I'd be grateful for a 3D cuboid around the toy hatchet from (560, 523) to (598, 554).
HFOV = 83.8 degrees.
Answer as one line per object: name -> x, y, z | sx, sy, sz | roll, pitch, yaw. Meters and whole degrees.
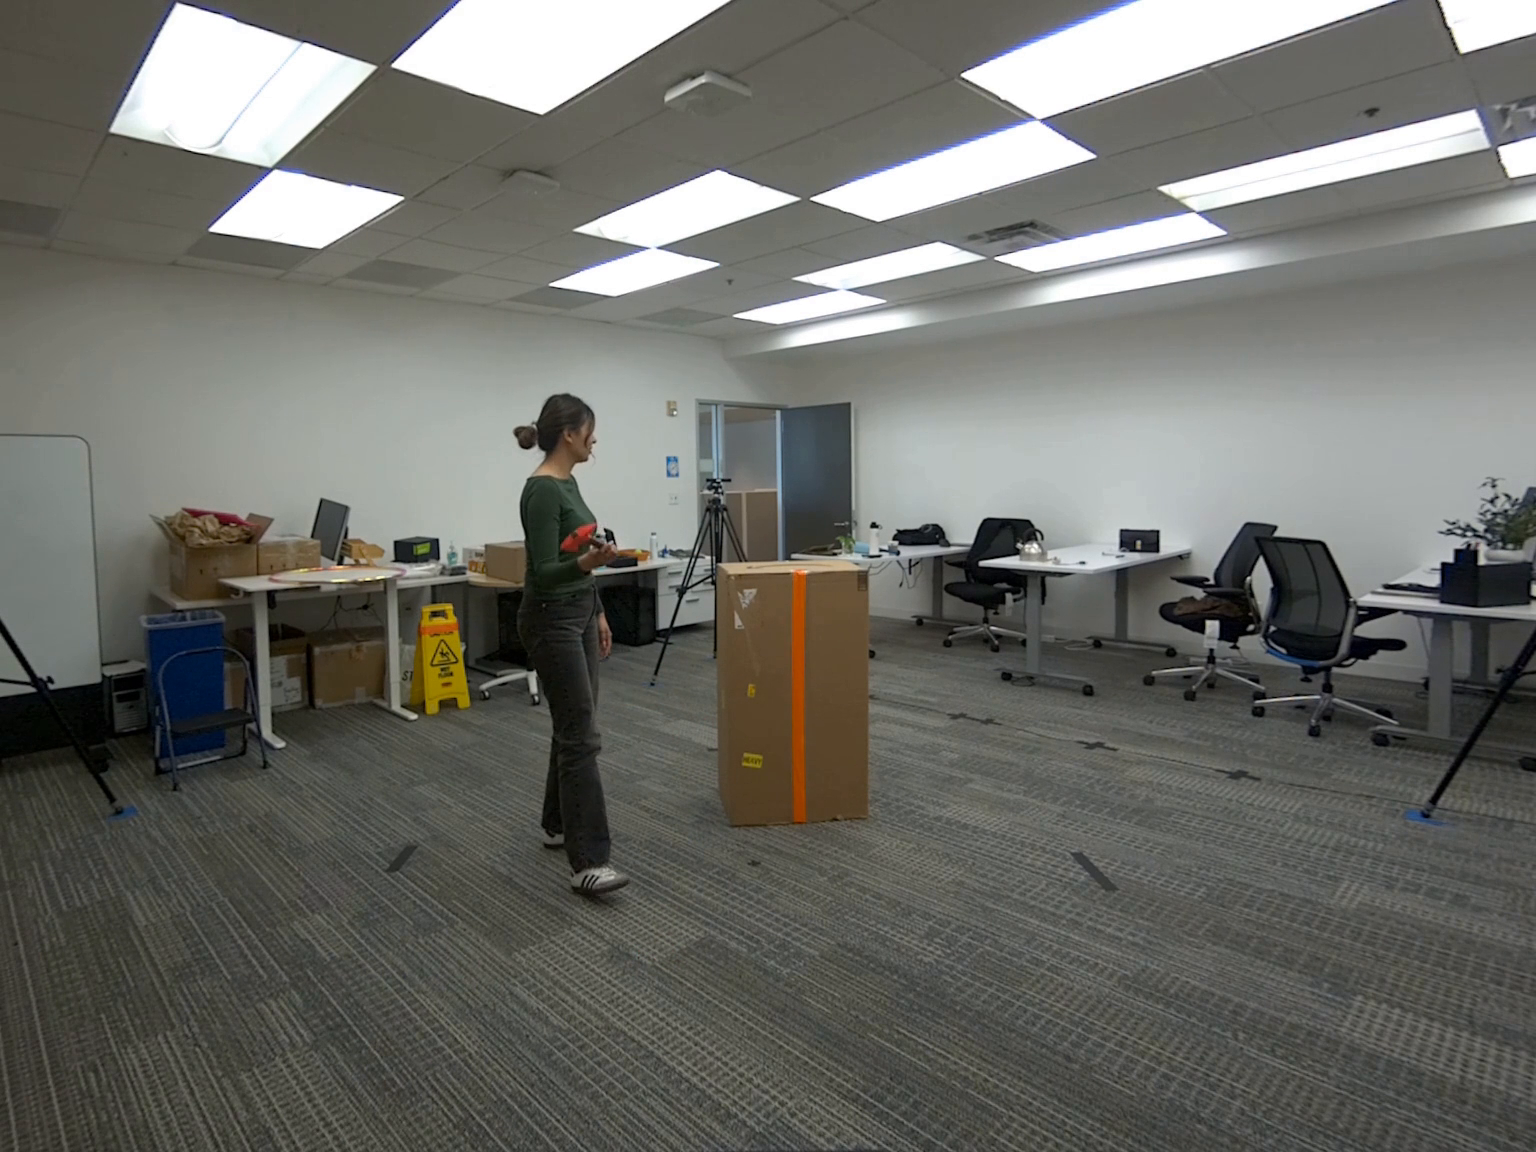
toy hatchet -> -0.560, -0.076, 2.632 | 0.130, 0.030, 0.264 | -27, -20, -8
